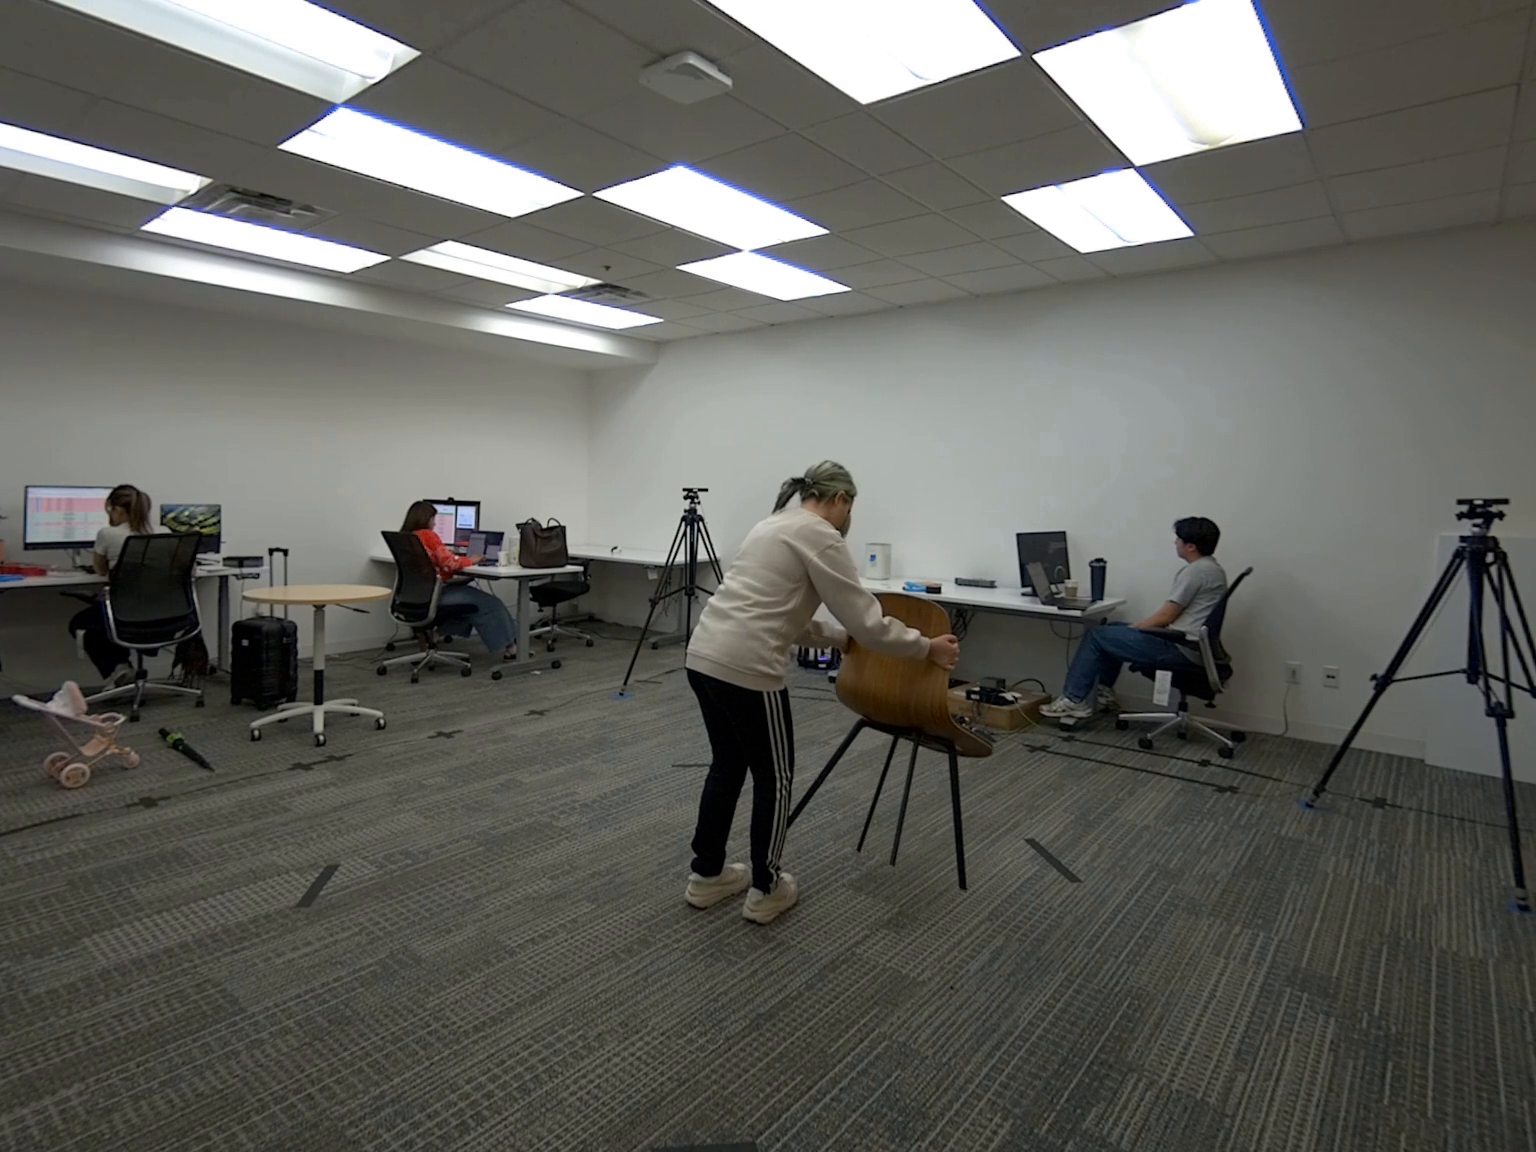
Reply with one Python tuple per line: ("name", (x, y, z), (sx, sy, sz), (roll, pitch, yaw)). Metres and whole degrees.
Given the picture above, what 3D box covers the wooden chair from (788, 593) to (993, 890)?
("wooden chair", (0.470, 0.552, 2.961), (0.493, 0.885, 0.502), (1, -19, 45))
